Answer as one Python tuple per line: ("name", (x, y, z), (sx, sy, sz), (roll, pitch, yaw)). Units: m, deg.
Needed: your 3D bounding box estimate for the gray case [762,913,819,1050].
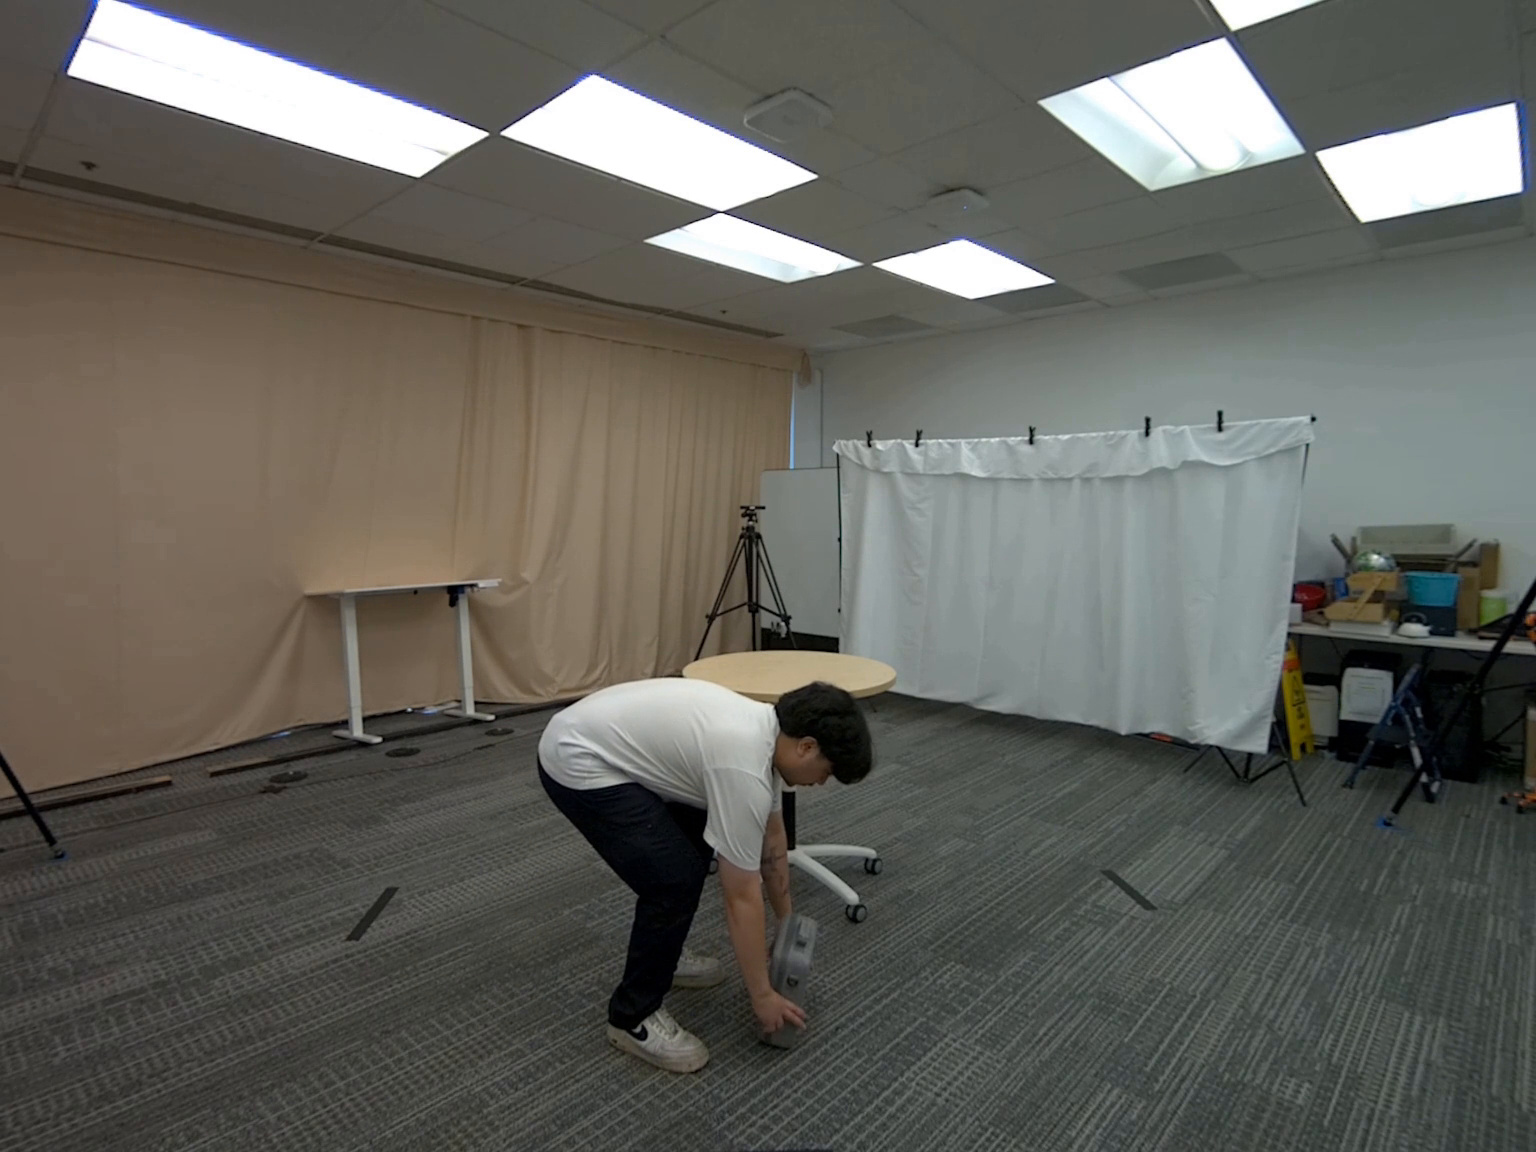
("gray case", (0.079, 1.083, 2.252), (0.105, 0.260, 0.255), (13, 8, 8))
